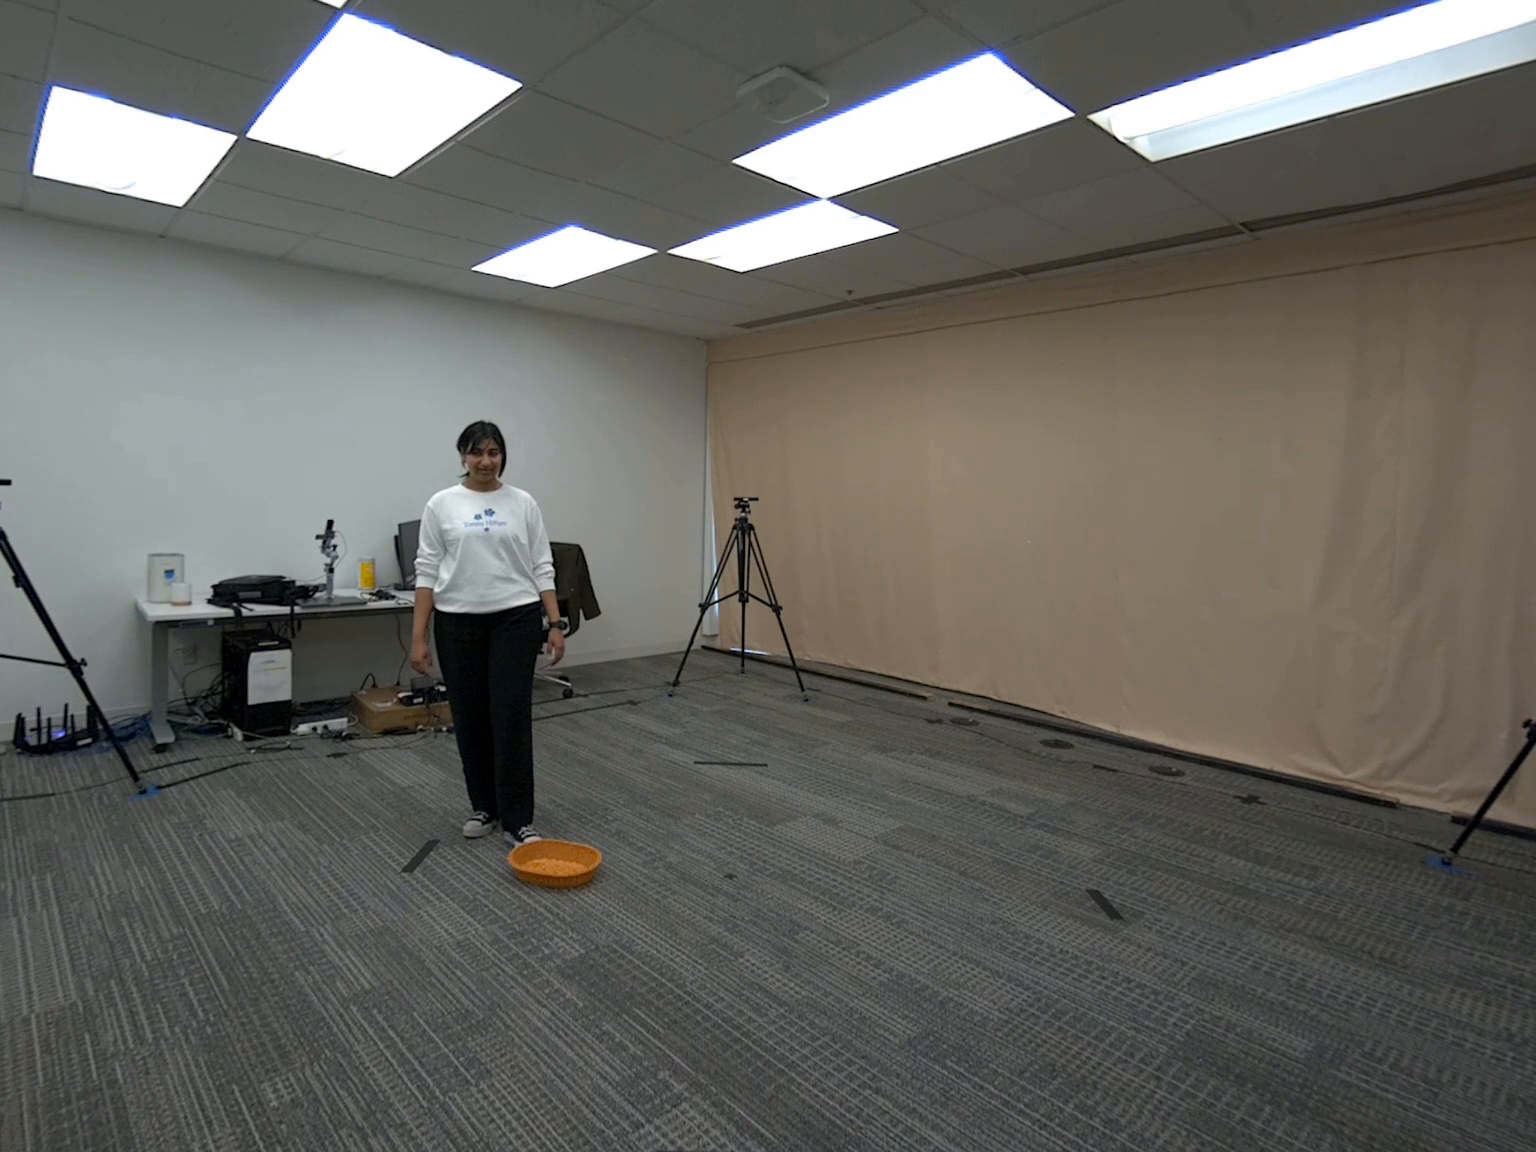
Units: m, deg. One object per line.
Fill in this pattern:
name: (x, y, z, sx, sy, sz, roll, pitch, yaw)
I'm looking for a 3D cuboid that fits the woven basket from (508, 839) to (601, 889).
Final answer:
woven basket: (-0.786, 1.059, 3.075, 0.356, 0.073, 0.250, 4, 8, 19)
